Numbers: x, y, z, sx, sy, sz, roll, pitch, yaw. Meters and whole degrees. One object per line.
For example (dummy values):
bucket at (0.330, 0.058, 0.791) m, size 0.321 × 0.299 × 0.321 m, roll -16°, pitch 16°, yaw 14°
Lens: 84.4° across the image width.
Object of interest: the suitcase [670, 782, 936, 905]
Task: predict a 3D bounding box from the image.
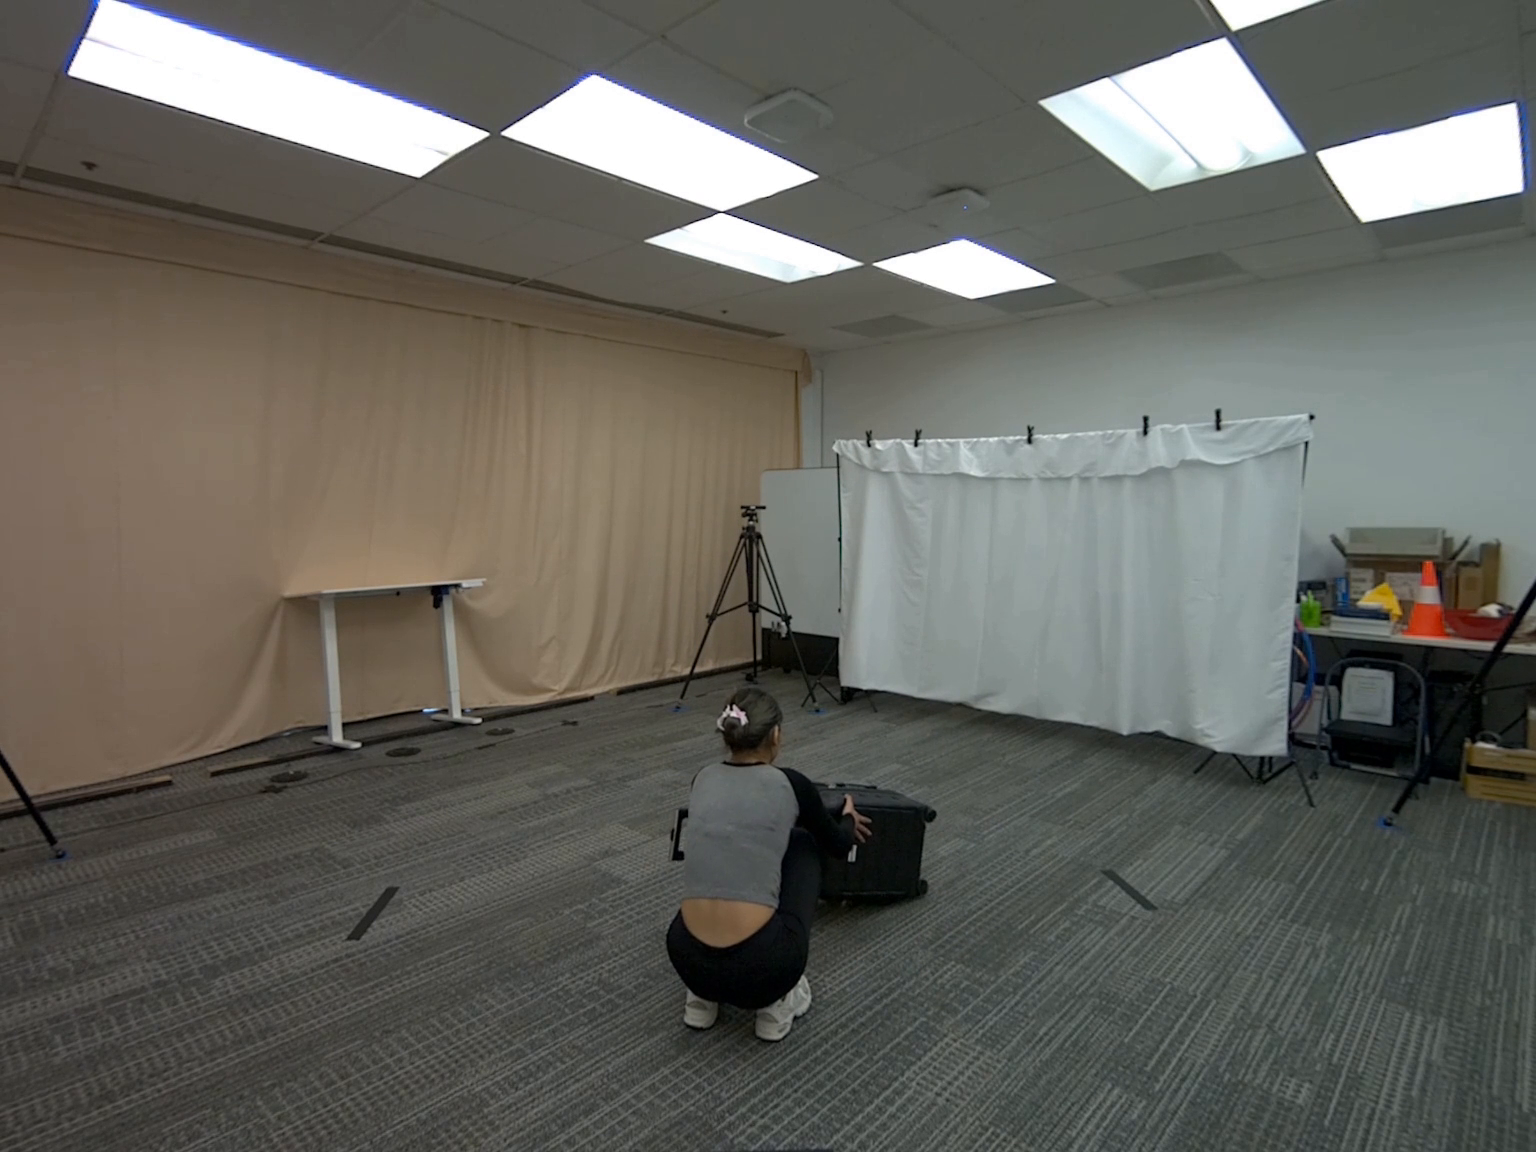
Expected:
suitcase at (0.162, 0.893, 2.822) m, size 0.946 × 0.385 × 0.265 m, roll 13°, pitch -7°, yaw -37°
